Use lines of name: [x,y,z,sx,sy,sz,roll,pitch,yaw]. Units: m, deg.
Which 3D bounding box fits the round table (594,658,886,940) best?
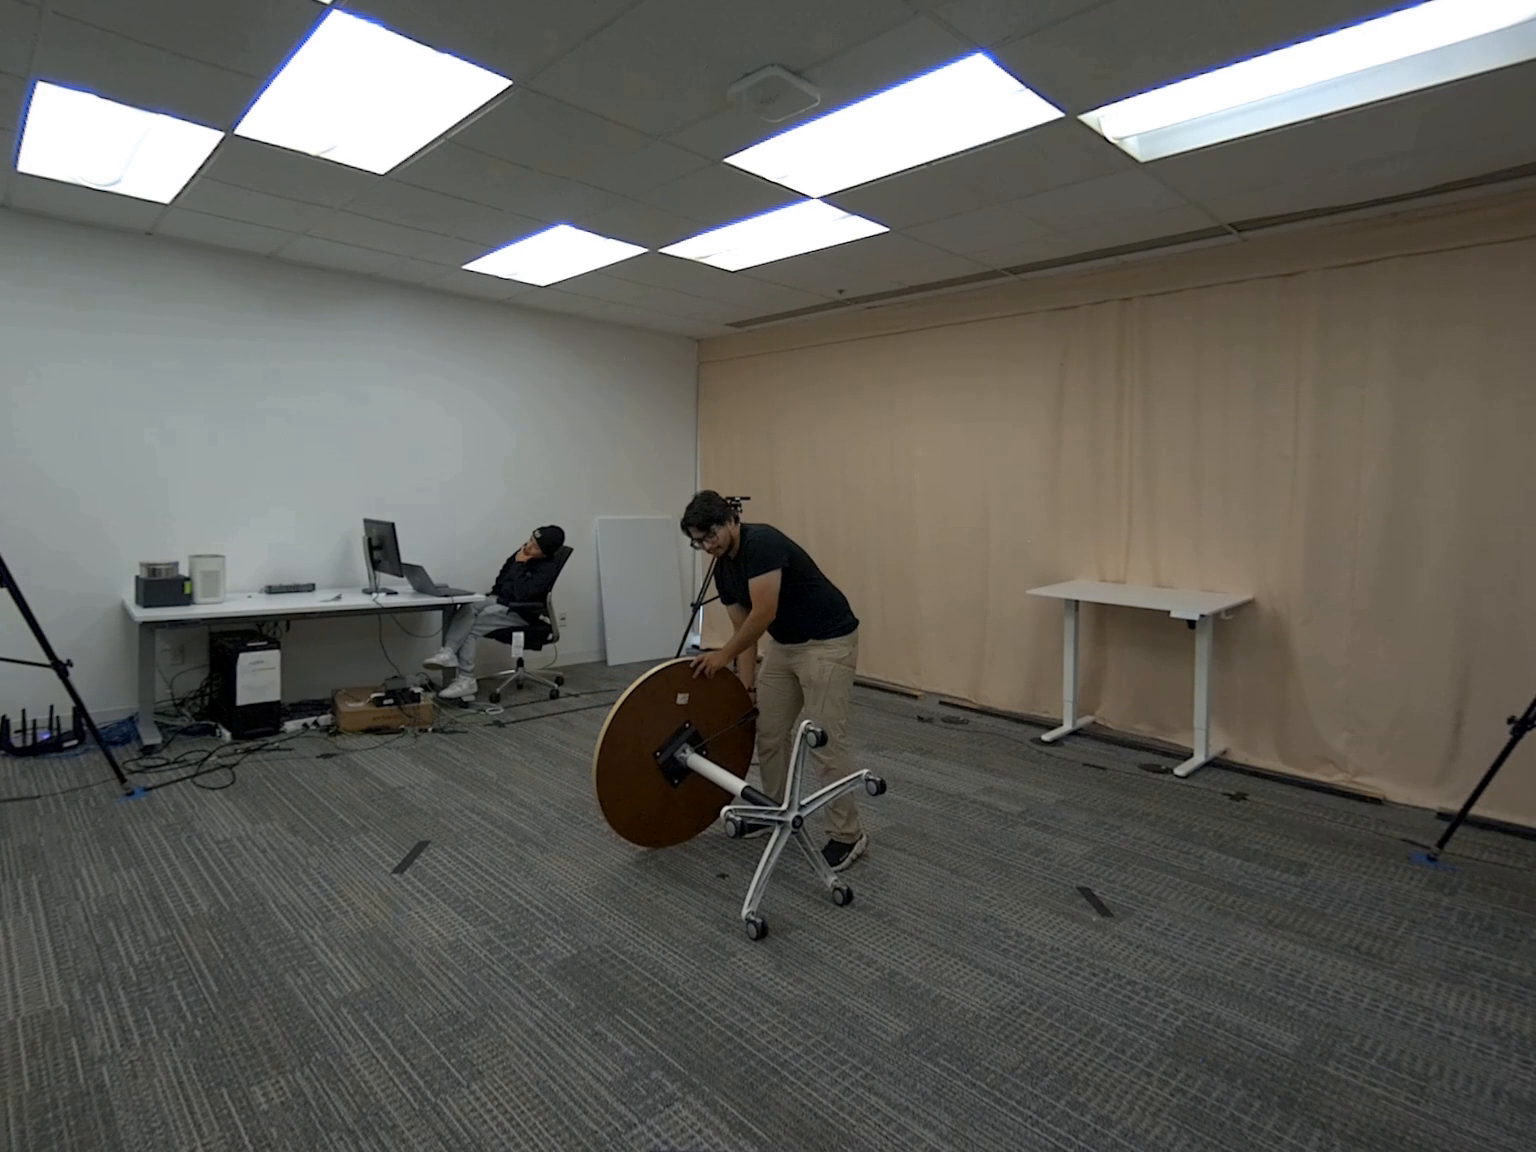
round table: [-0.113,0.756,3.030,0.767,0.781,0.808,-2,9,-40]
